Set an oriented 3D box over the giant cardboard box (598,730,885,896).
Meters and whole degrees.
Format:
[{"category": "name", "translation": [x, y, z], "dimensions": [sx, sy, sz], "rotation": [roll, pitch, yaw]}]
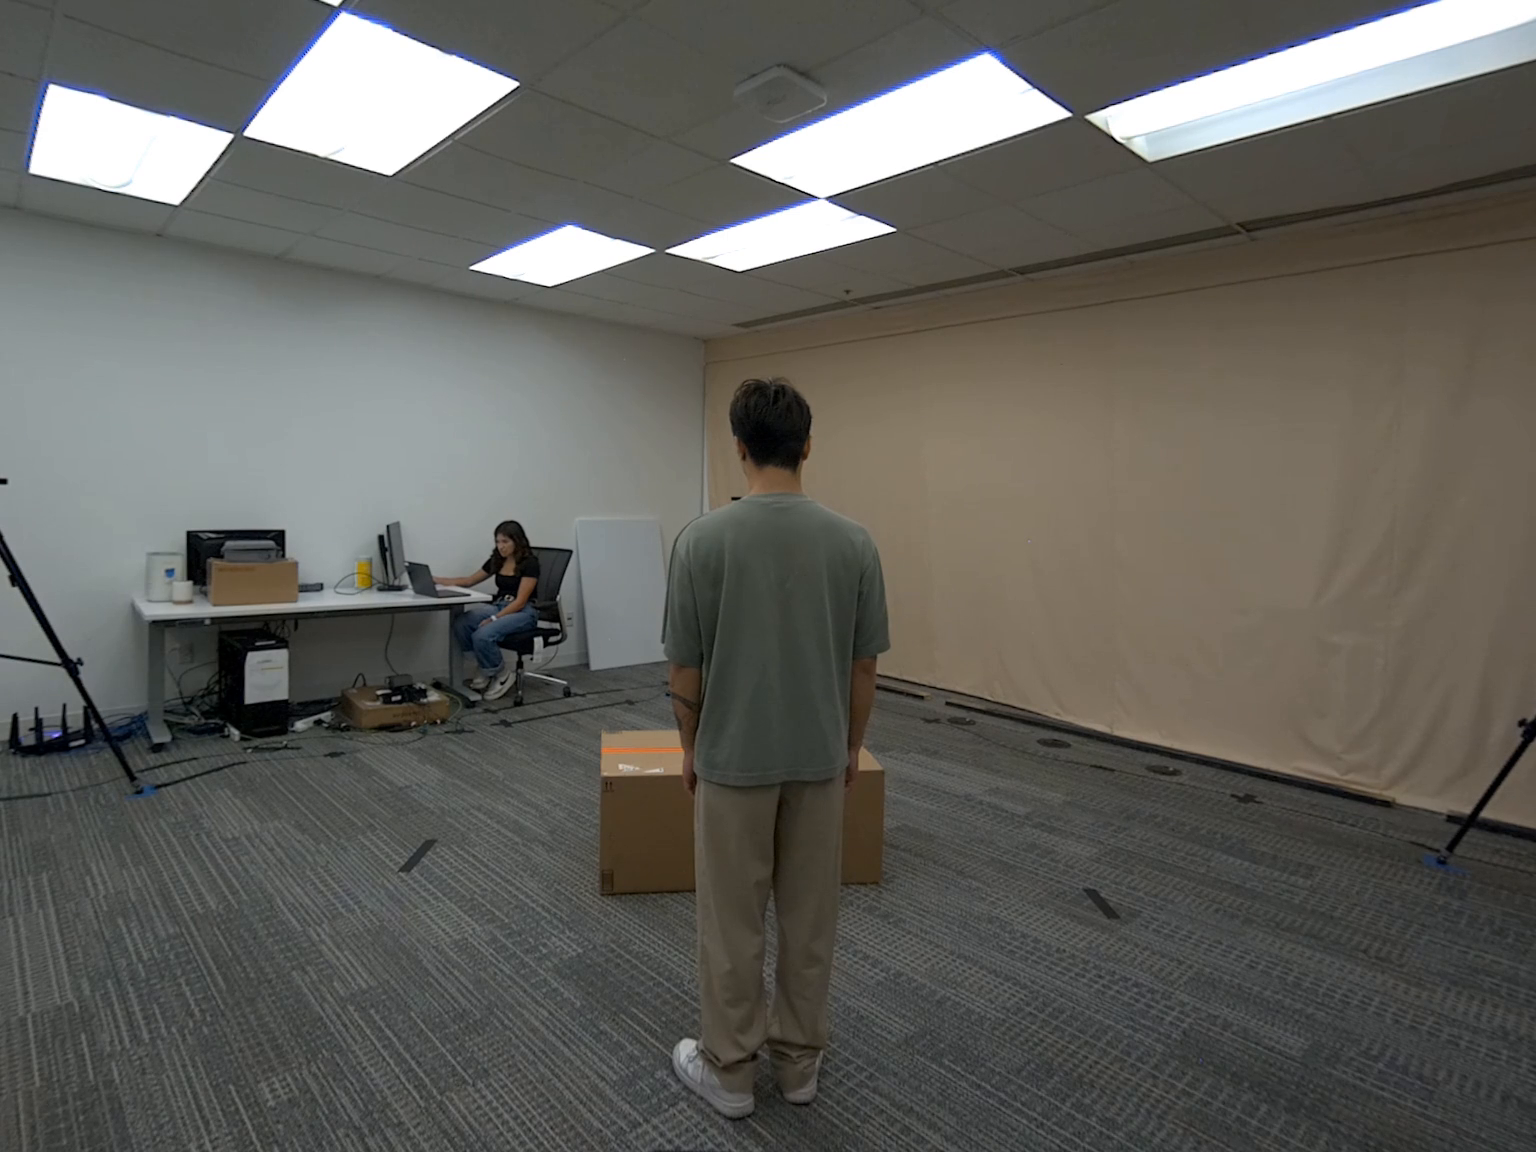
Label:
[{"category": "giant cardboard box", "translation": [-0.142, 0.875, 3.269], "dimensions": [1.018, 0.425, 0.583], "rotation": [1, 5, -9]}]
